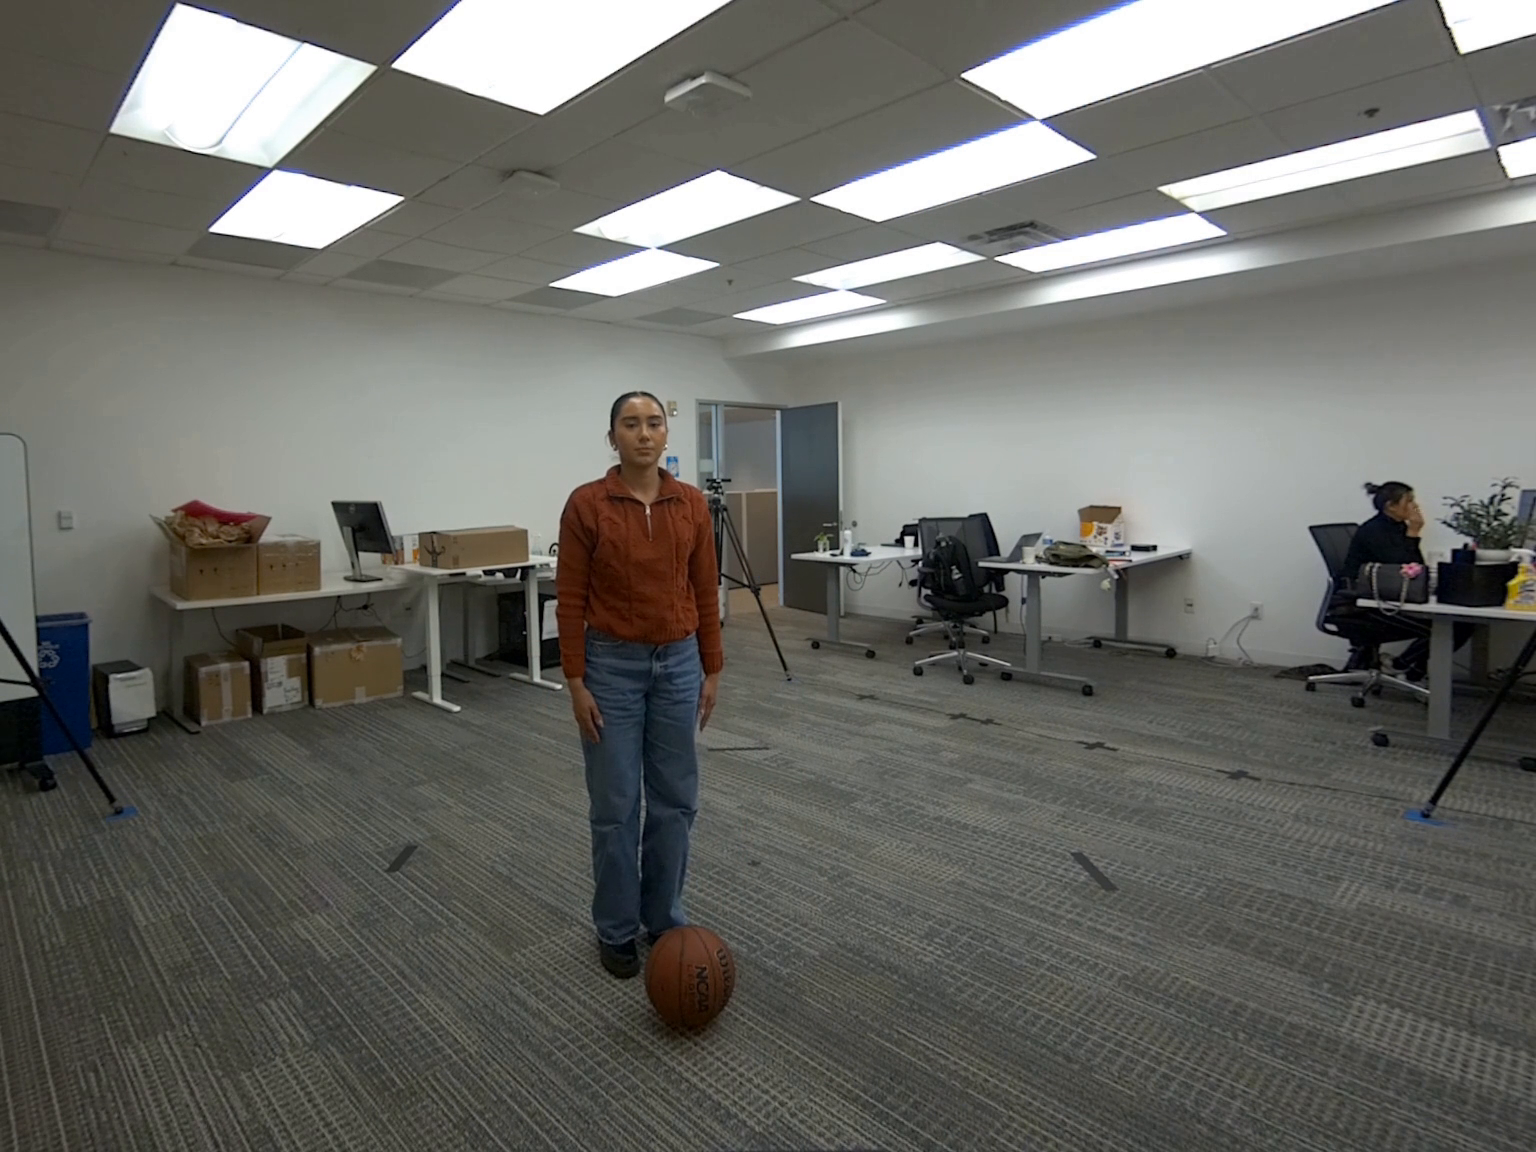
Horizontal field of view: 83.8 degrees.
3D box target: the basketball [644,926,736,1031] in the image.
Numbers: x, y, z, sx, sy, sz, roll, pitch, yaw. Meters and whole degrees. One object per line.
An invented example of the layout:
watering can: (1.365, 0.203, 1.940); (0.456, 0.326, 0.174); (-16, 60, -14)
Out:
basketball: (-0.198, 1.033, 2.218); (0.236, 0.235, 0.237); (-1, 5, -2)
